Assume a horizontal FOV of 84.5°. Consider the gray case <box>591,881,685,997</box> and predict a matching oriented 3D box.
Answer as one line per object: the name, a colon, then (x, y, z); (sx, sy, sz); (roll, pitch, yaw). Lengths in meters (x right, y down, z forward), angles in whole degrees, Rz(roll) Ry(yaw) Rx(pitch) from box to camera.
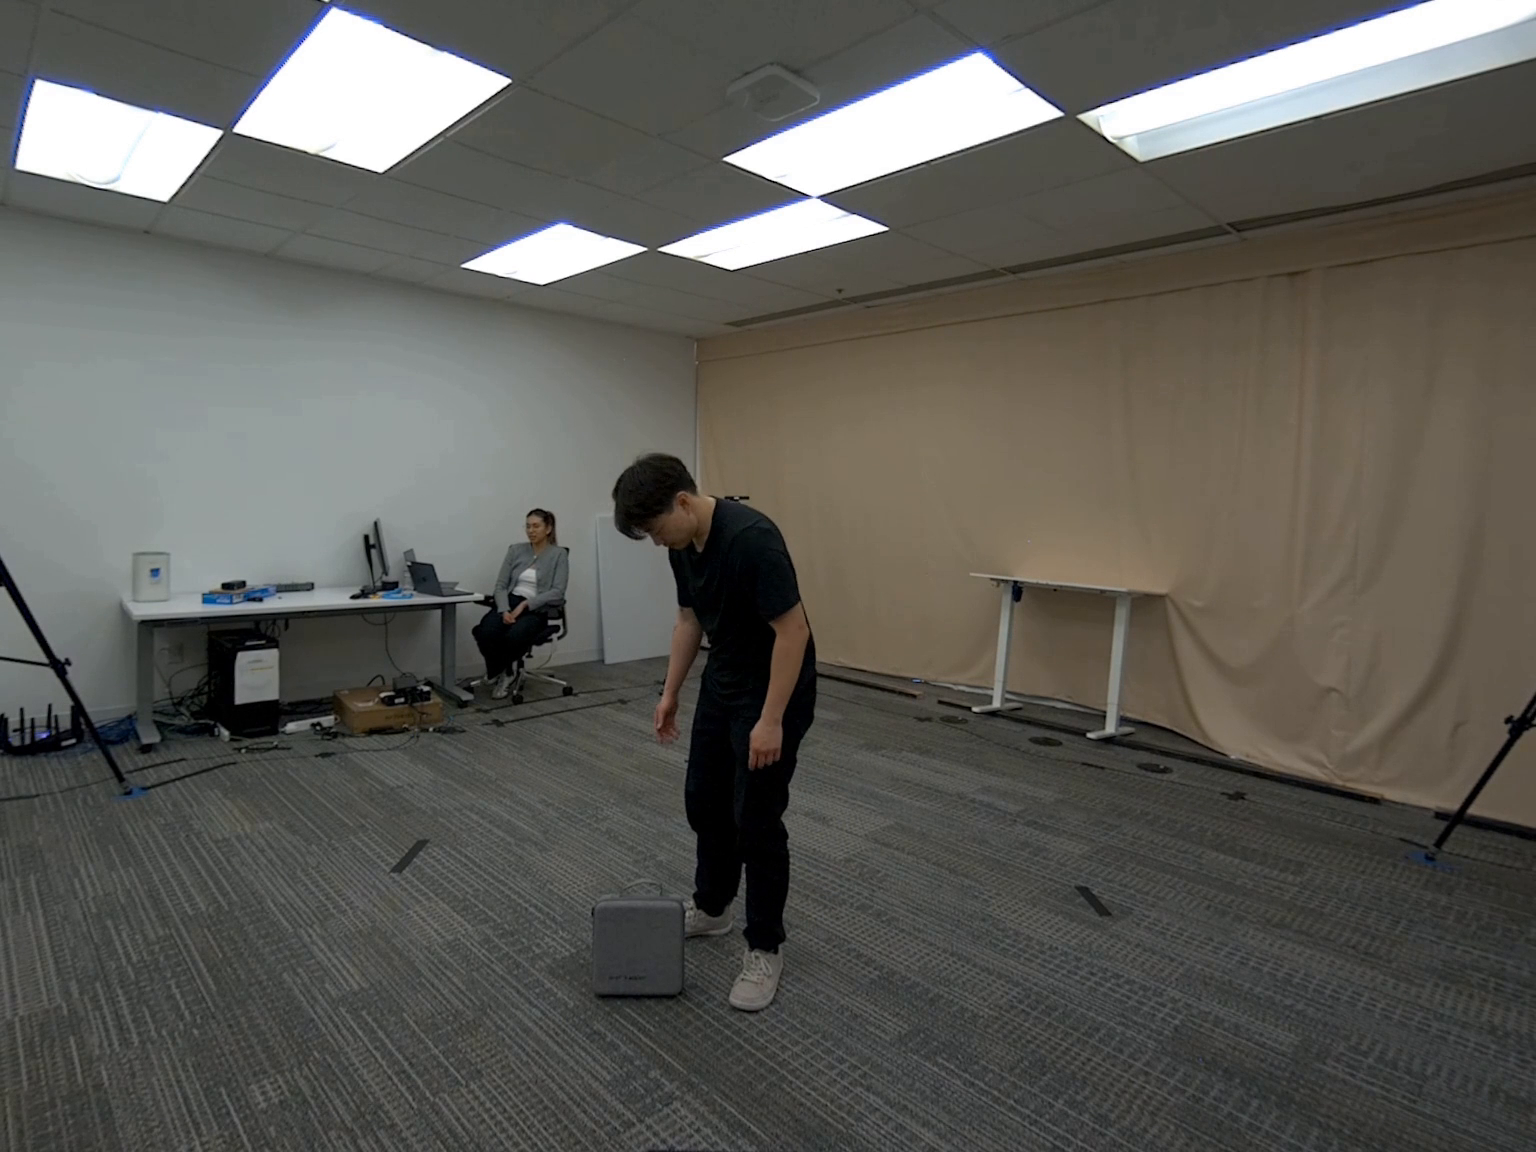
gray case: (-0.369, 1.032, 2.375); (0.257, 0.262, 0.104); (-1, -5, 0)
